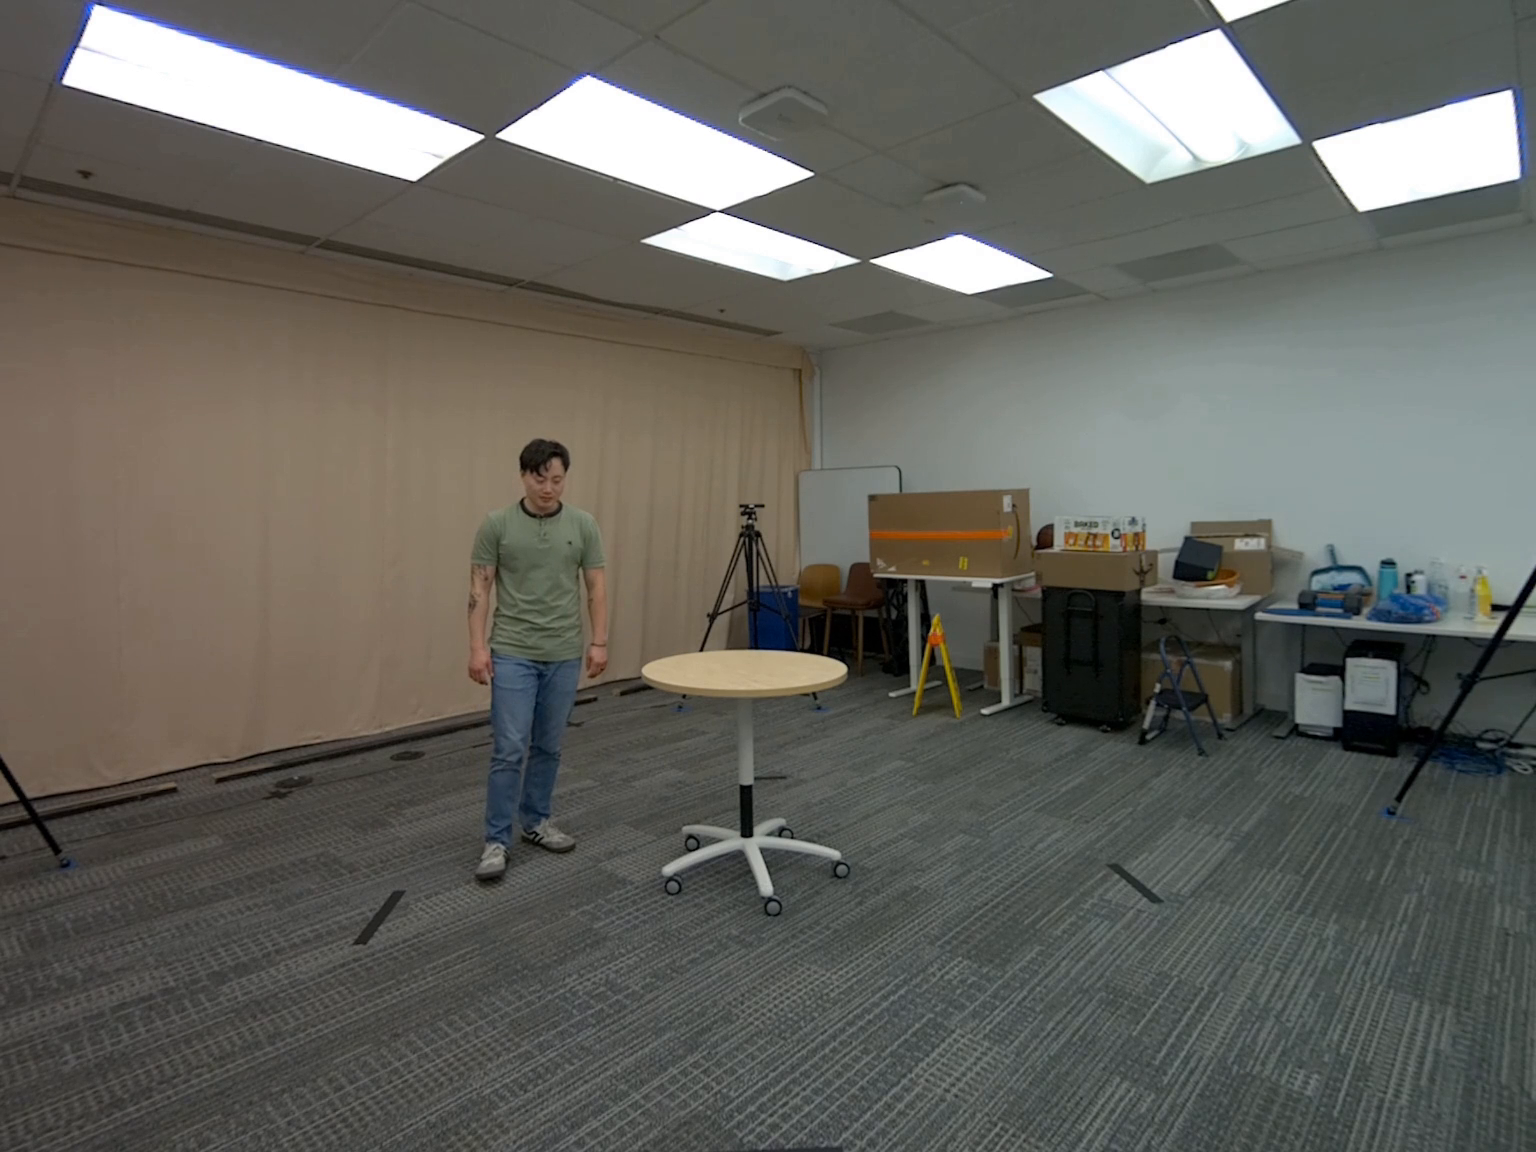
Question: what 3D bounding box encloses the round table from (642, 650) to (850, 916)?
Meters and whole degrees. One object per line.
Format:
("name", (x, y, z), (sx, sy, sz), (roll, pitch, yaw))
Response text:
("round table", (-0.080, 0.736, 3.170), (0.763, 0.792, 0.766), (-1, 4, -2))
